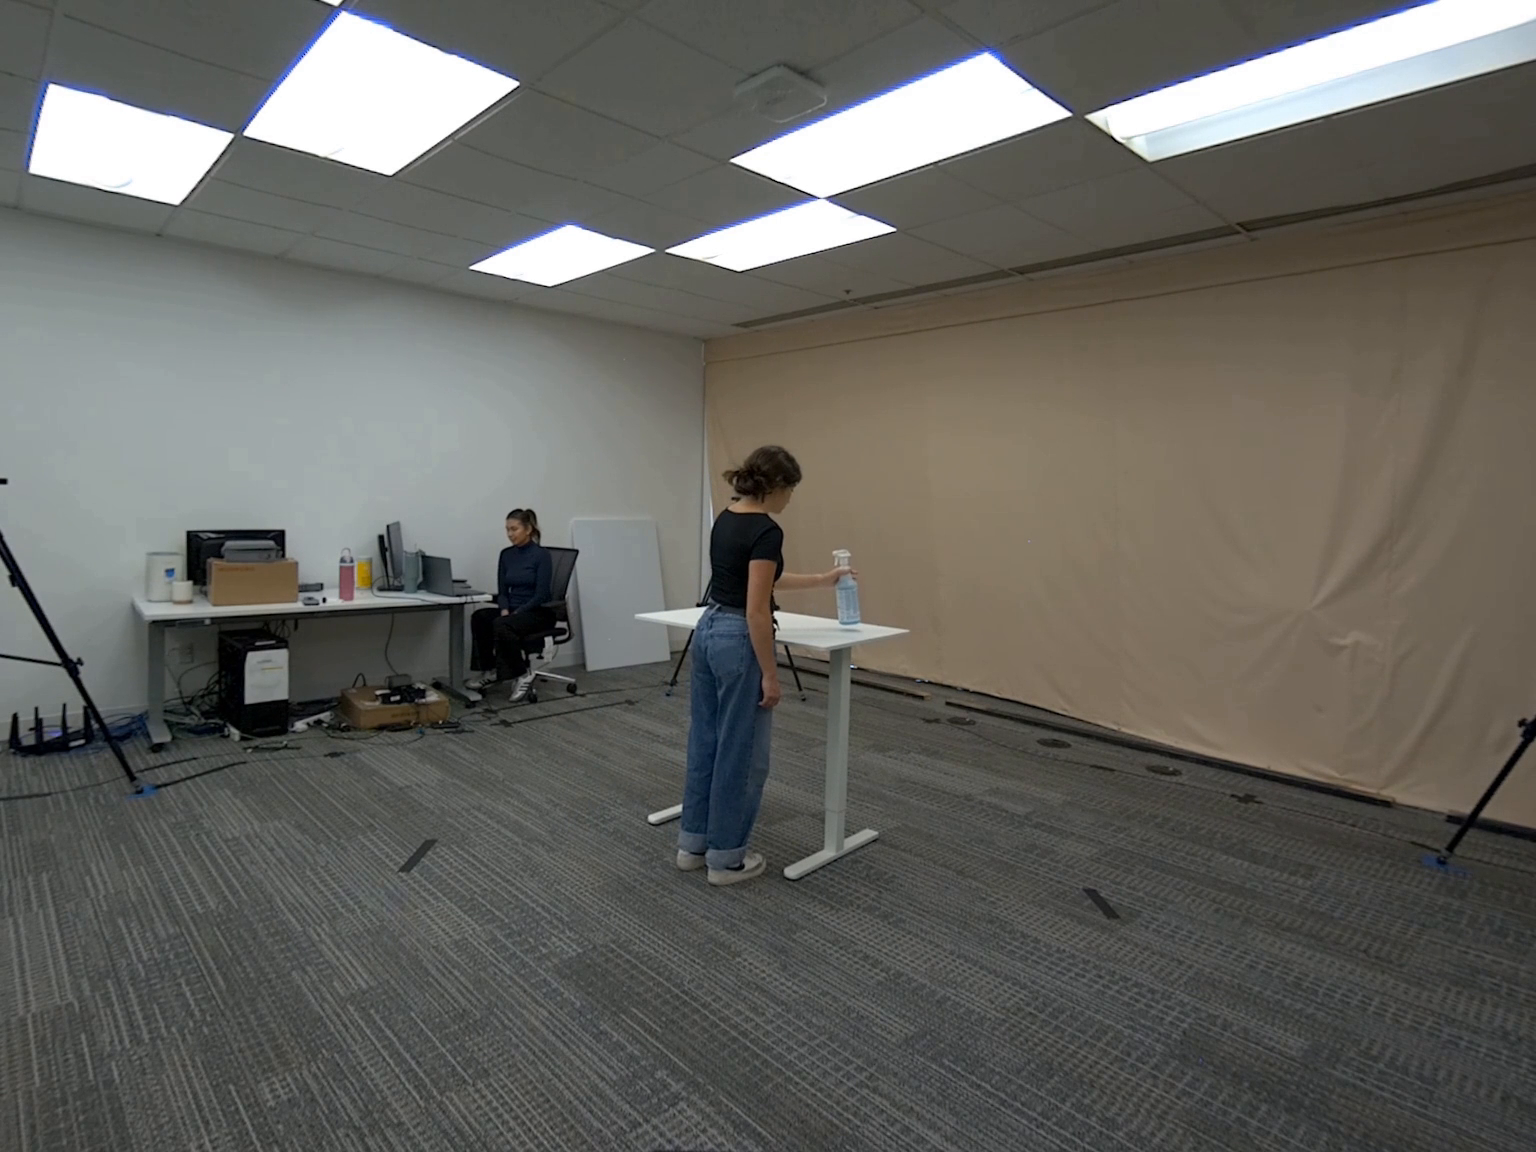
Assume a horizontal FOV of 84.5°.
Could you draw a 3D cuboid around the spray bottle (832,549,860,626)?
[{"bbox_3d":[0.304,0.044,3.329,0.089,0.295,0.088,-10,7,-13],"label":"spray bottle"}]
